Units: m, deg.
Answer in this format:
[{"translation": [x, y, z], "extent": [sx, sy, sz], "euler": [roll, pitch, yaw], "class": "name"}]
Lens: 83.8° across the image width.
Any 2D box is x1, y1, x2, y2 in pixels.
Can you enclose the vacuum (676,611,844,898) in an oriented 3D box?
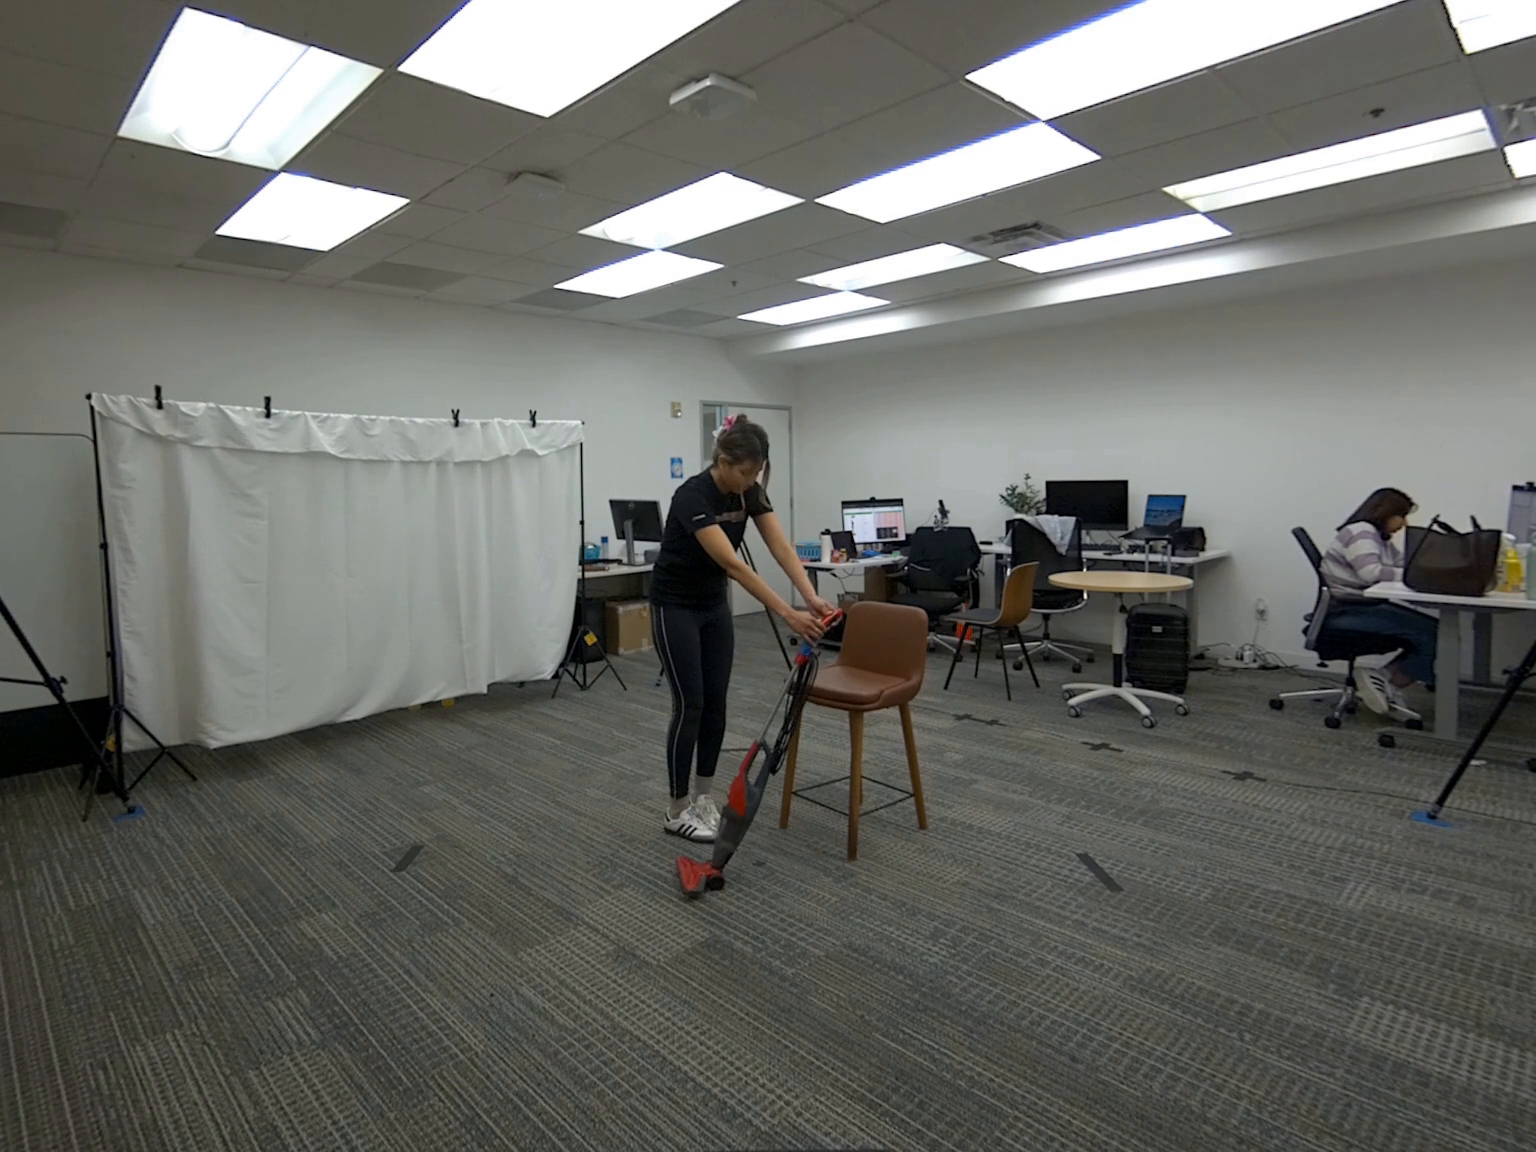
[{"translation": [0.008, 0.597, 2.980], "extent": [0.141, 1.050, 0.258], "euler": [29, -2, -18], "class": "vacuum"}]
